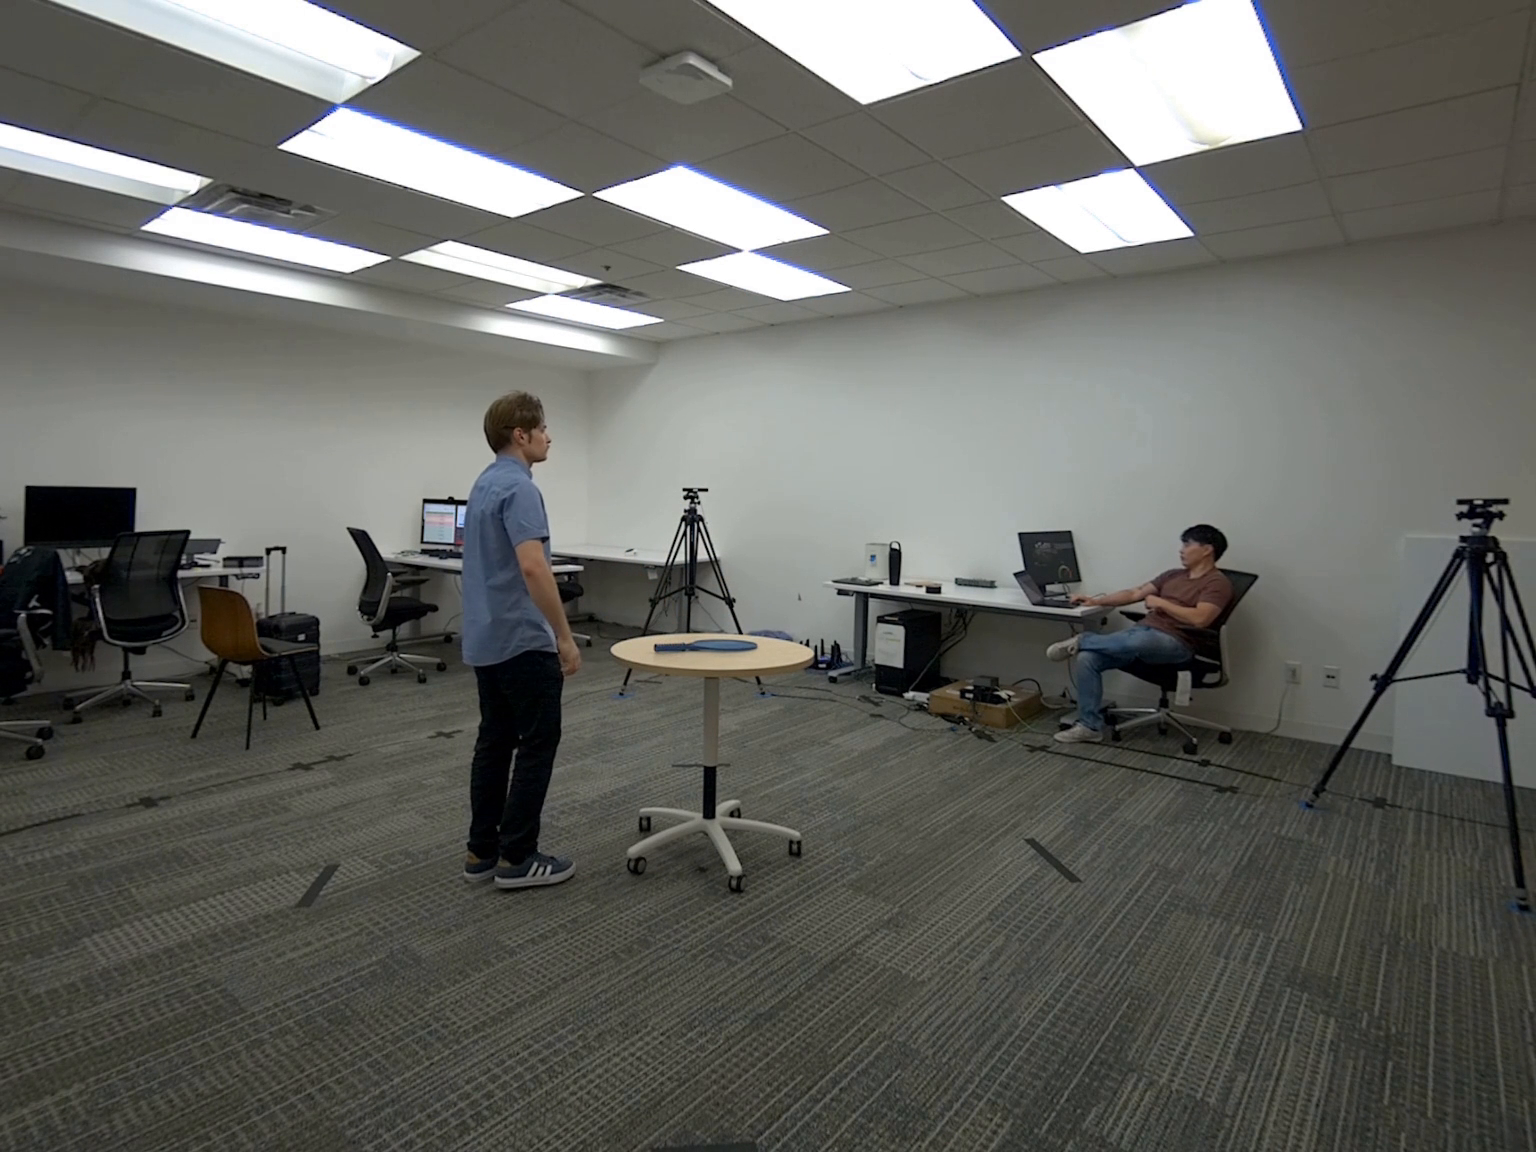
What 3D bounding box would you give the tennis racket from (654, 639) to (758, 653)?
[{"bbox_3d":[-0.245,0.268,3.238,0.421,0.031,0.220,0,6,-29],"label":"tennis racket"}]
